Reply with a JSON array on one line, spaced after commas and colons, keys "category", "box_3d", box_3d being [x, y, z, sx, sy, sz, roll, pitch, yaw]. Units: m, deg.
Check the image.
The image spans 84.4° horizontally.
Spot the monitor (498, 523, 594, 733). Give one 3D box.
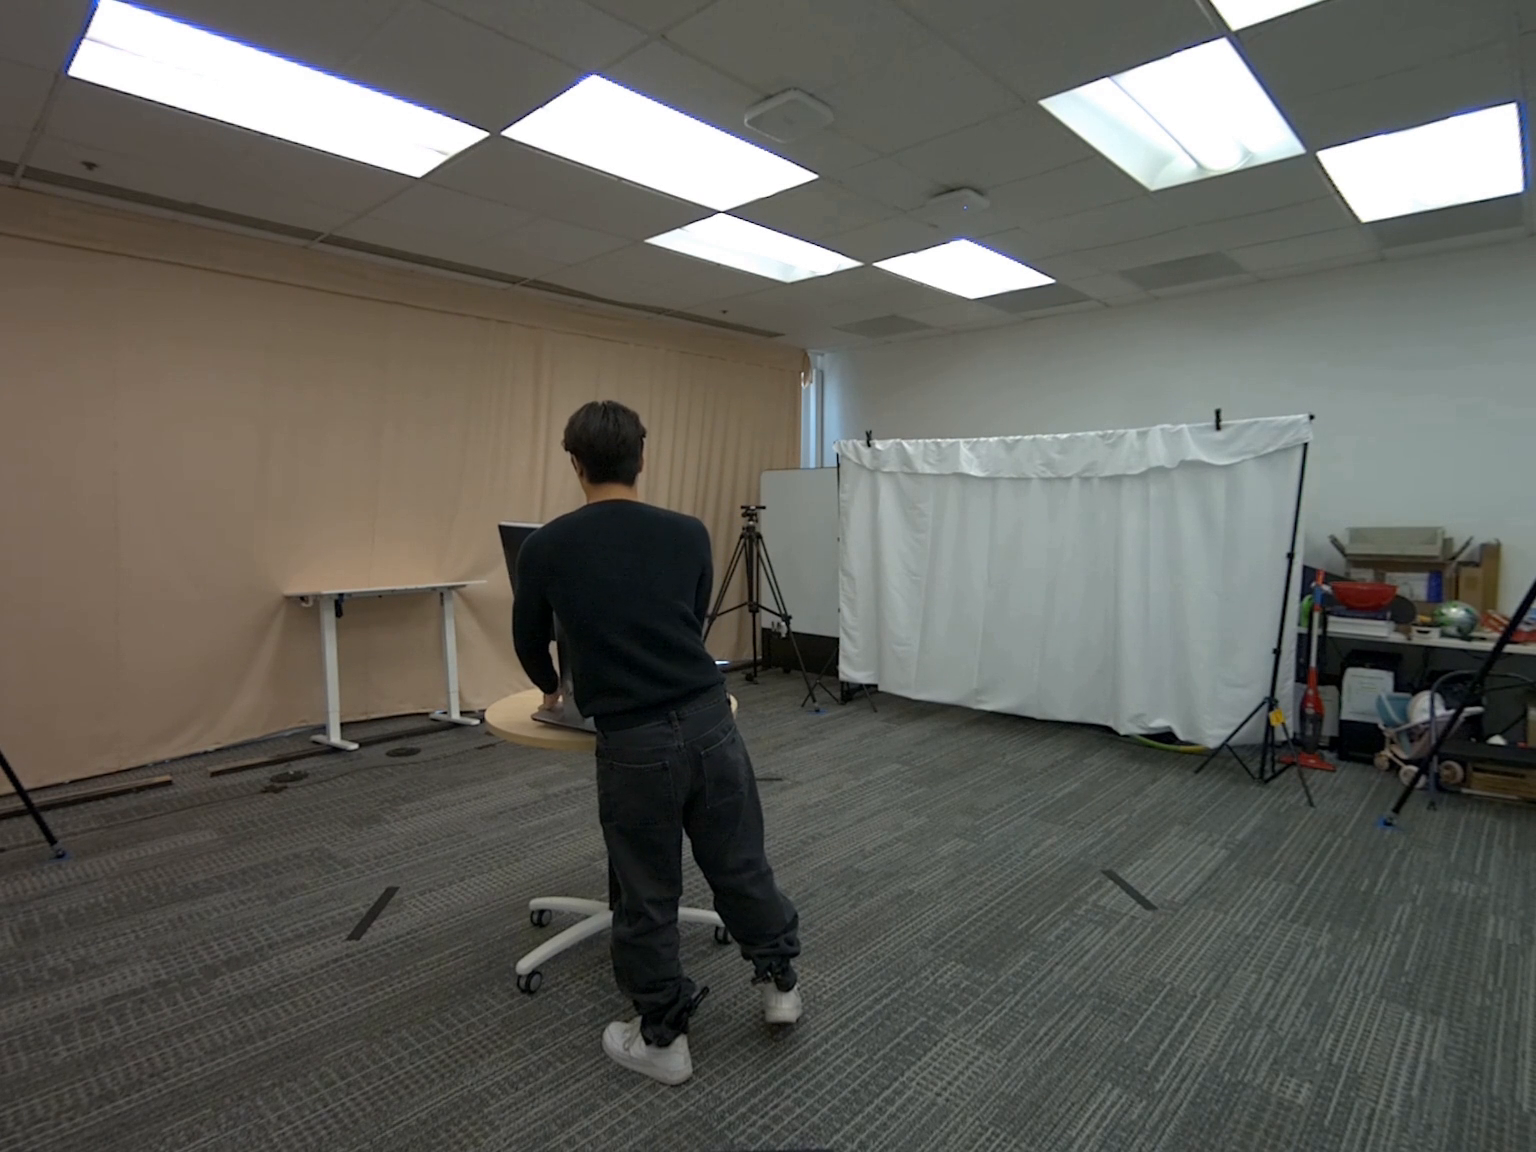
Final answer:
[{"category": "monitor", "box_3d": [-0.526, 0.130, 2.337, 0.553, 0.520, 0.183, 5, 10, 25]}]
